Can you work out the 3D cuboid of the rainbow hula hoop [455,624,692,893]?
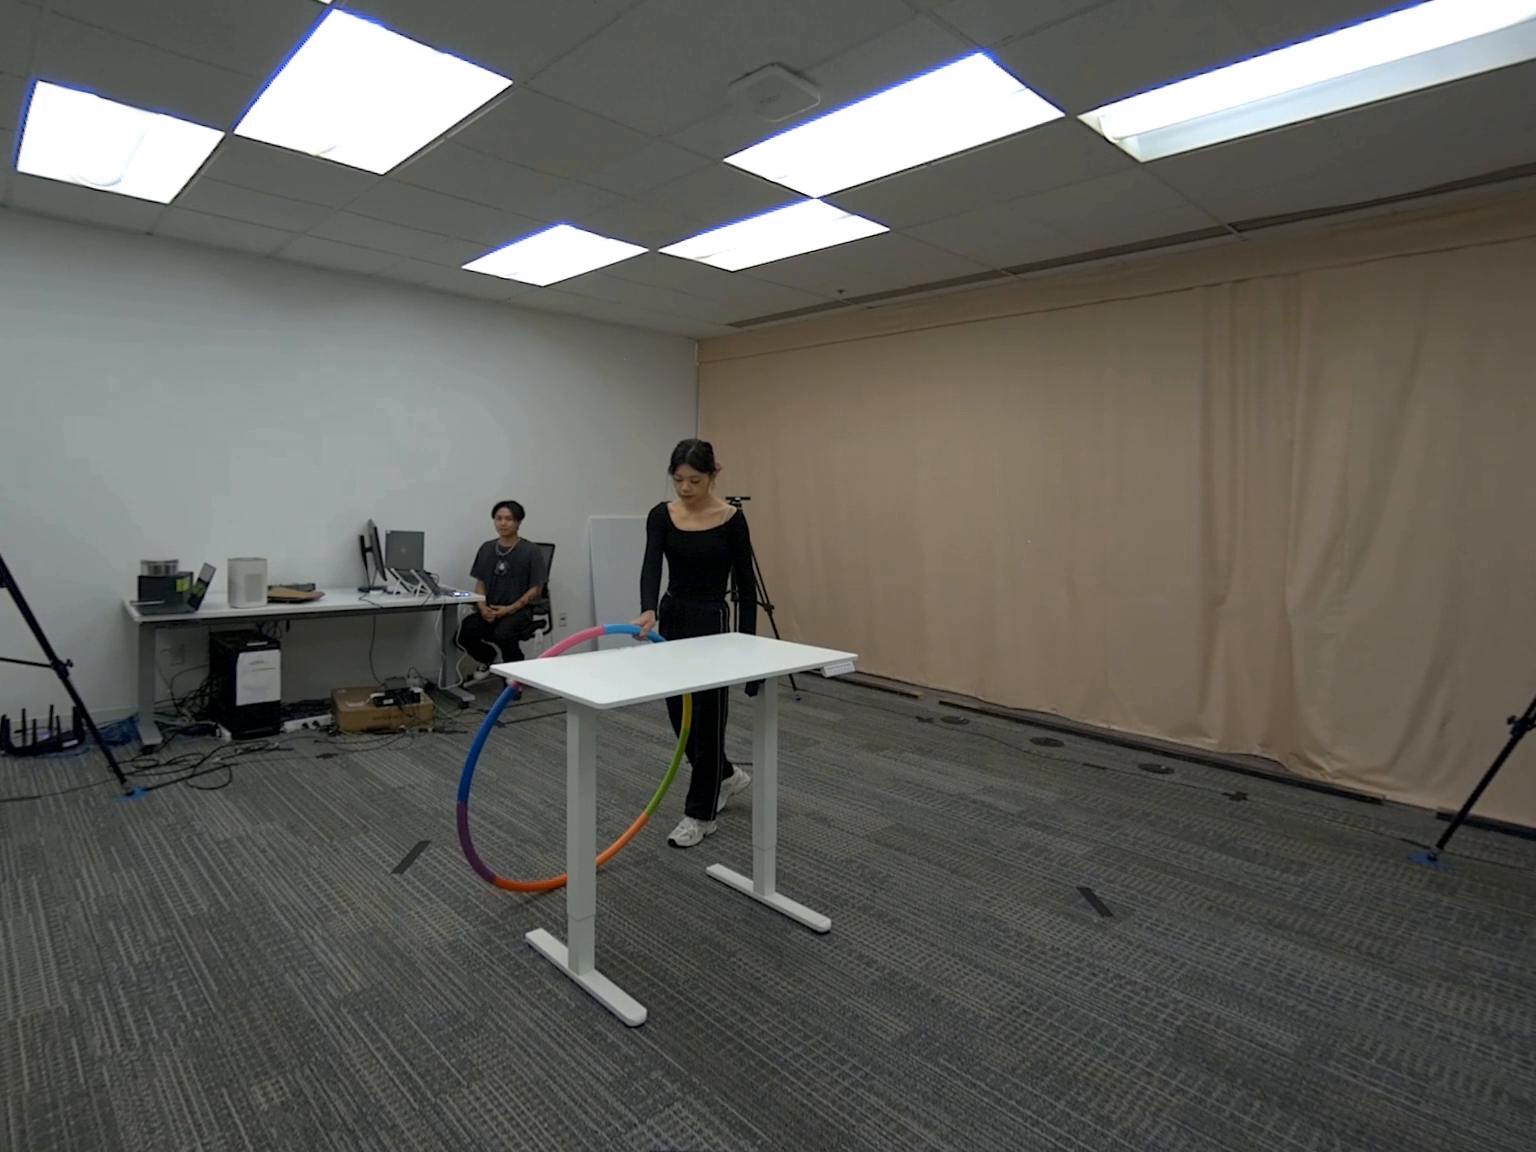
[{"bbox_3d":[-0.641,0.636,2.919,0.036,0.972,0.957,21,15,37],"label":"rainbow hula hoop"}]
